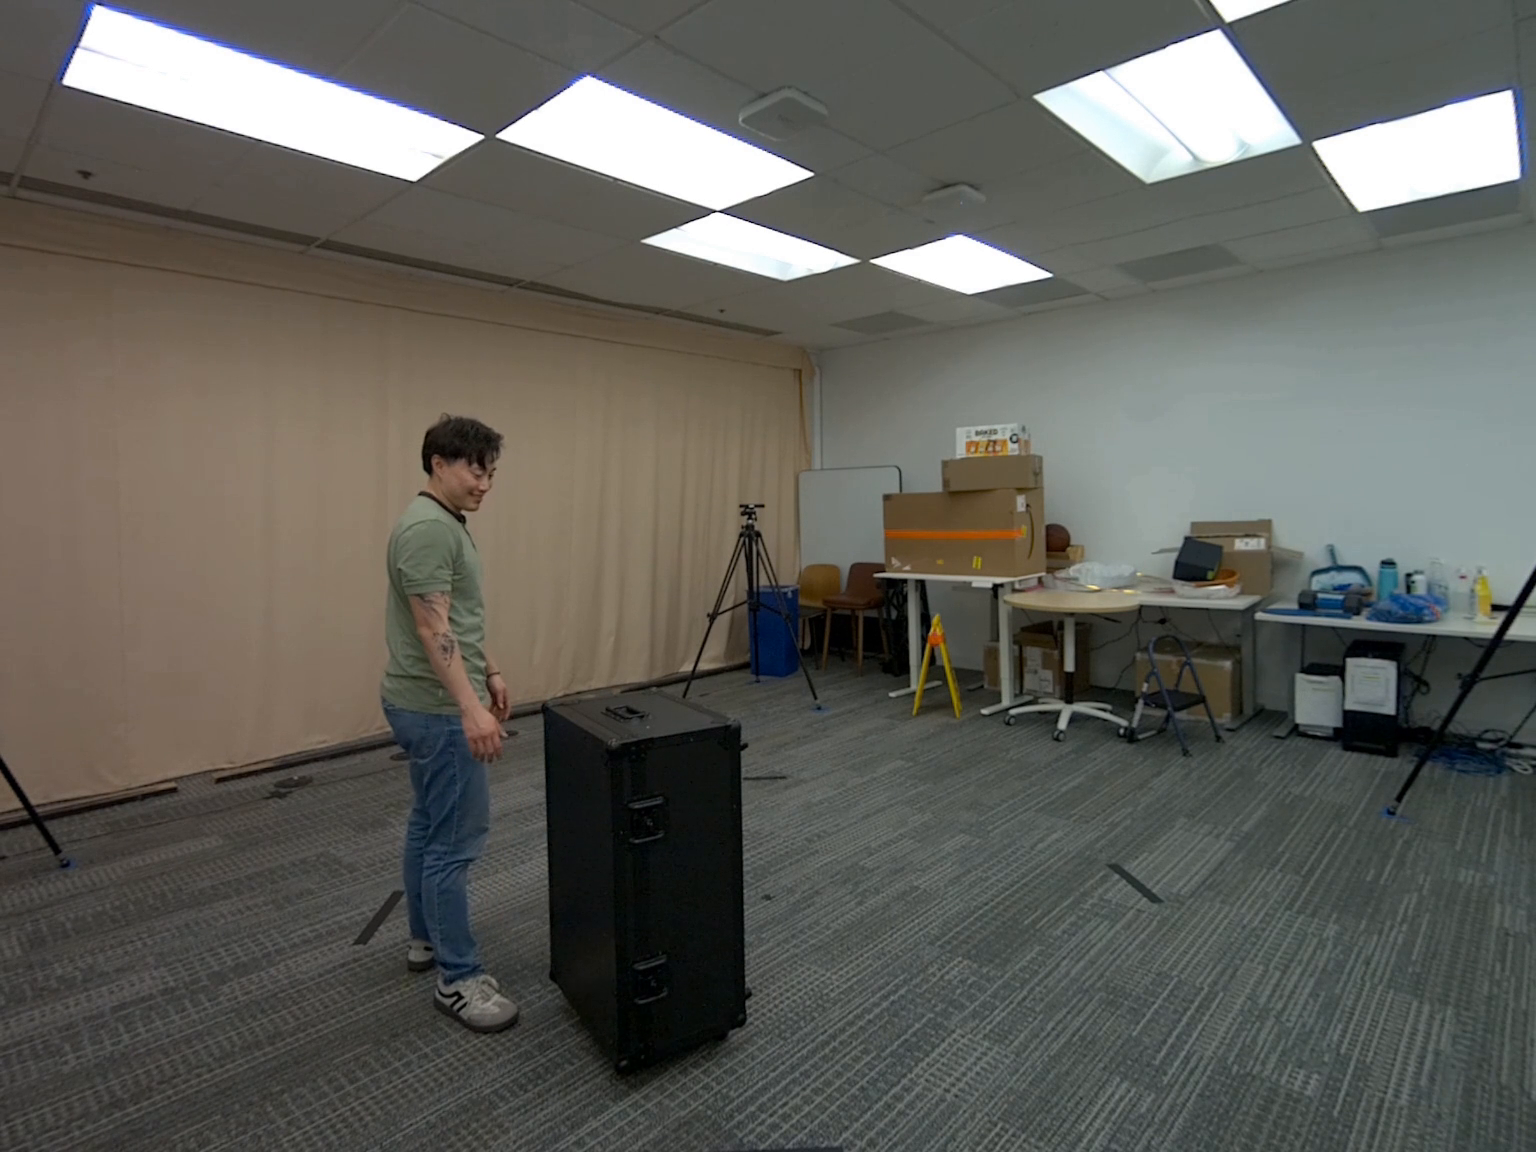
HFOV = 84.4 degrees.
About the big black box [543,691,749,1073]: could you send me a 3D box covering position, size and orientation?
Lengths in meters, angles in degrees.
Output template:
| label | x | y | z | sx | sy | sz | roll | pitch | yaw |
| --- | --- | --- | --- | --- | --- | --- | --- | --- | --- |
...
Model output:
| label | x | y | z | sx | sy | sz | roll | pitch | yaw |
| --- | --- | --- | --- | --- | --- | --- | --- | --- | --- |
| big black box | -0.327 | 0.785 | 2.240 | 0.385 | 0.860 | 0.537 | -2 | 3 | -32 |
